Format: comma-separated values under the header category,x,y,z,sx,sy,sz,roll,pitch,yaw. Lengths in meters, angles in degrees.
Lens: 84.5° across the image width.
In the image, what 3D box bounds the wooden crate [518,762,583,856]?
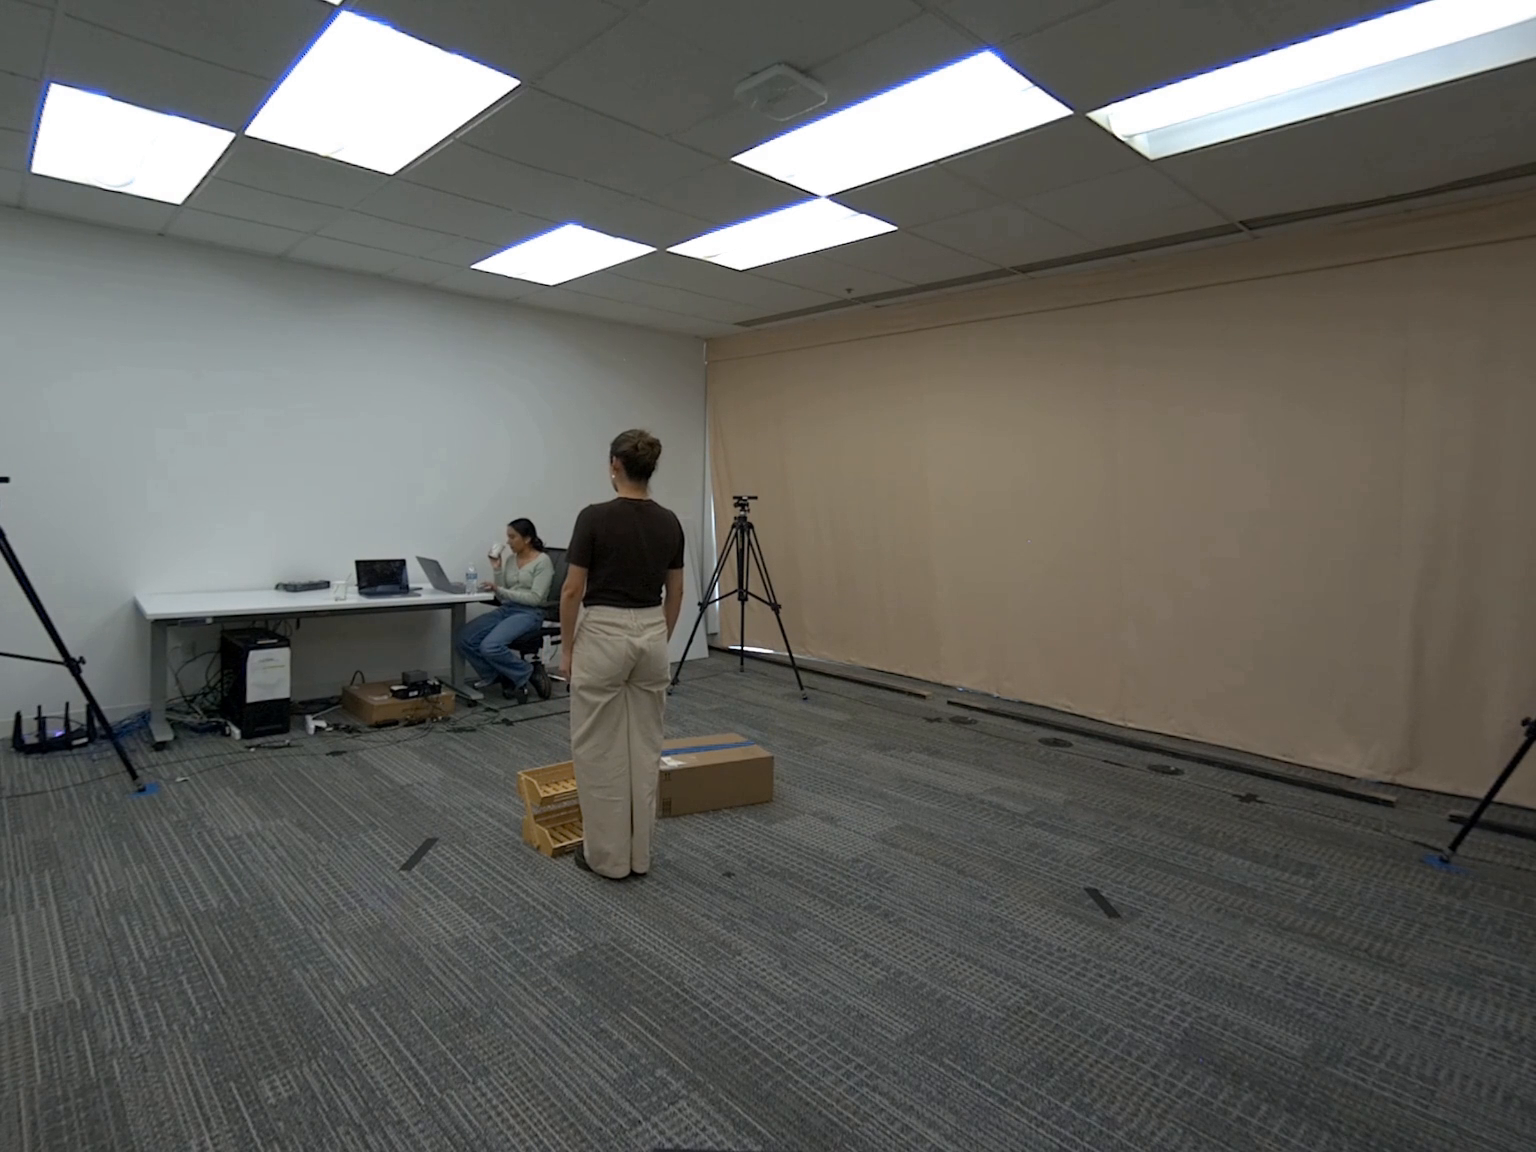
category,x,y,z,sx,sy,sz,roll,pitch,yaw
wooden crate,-0.814,0.922,3.396,0.317,0.272,0.310,-3,6,-42
